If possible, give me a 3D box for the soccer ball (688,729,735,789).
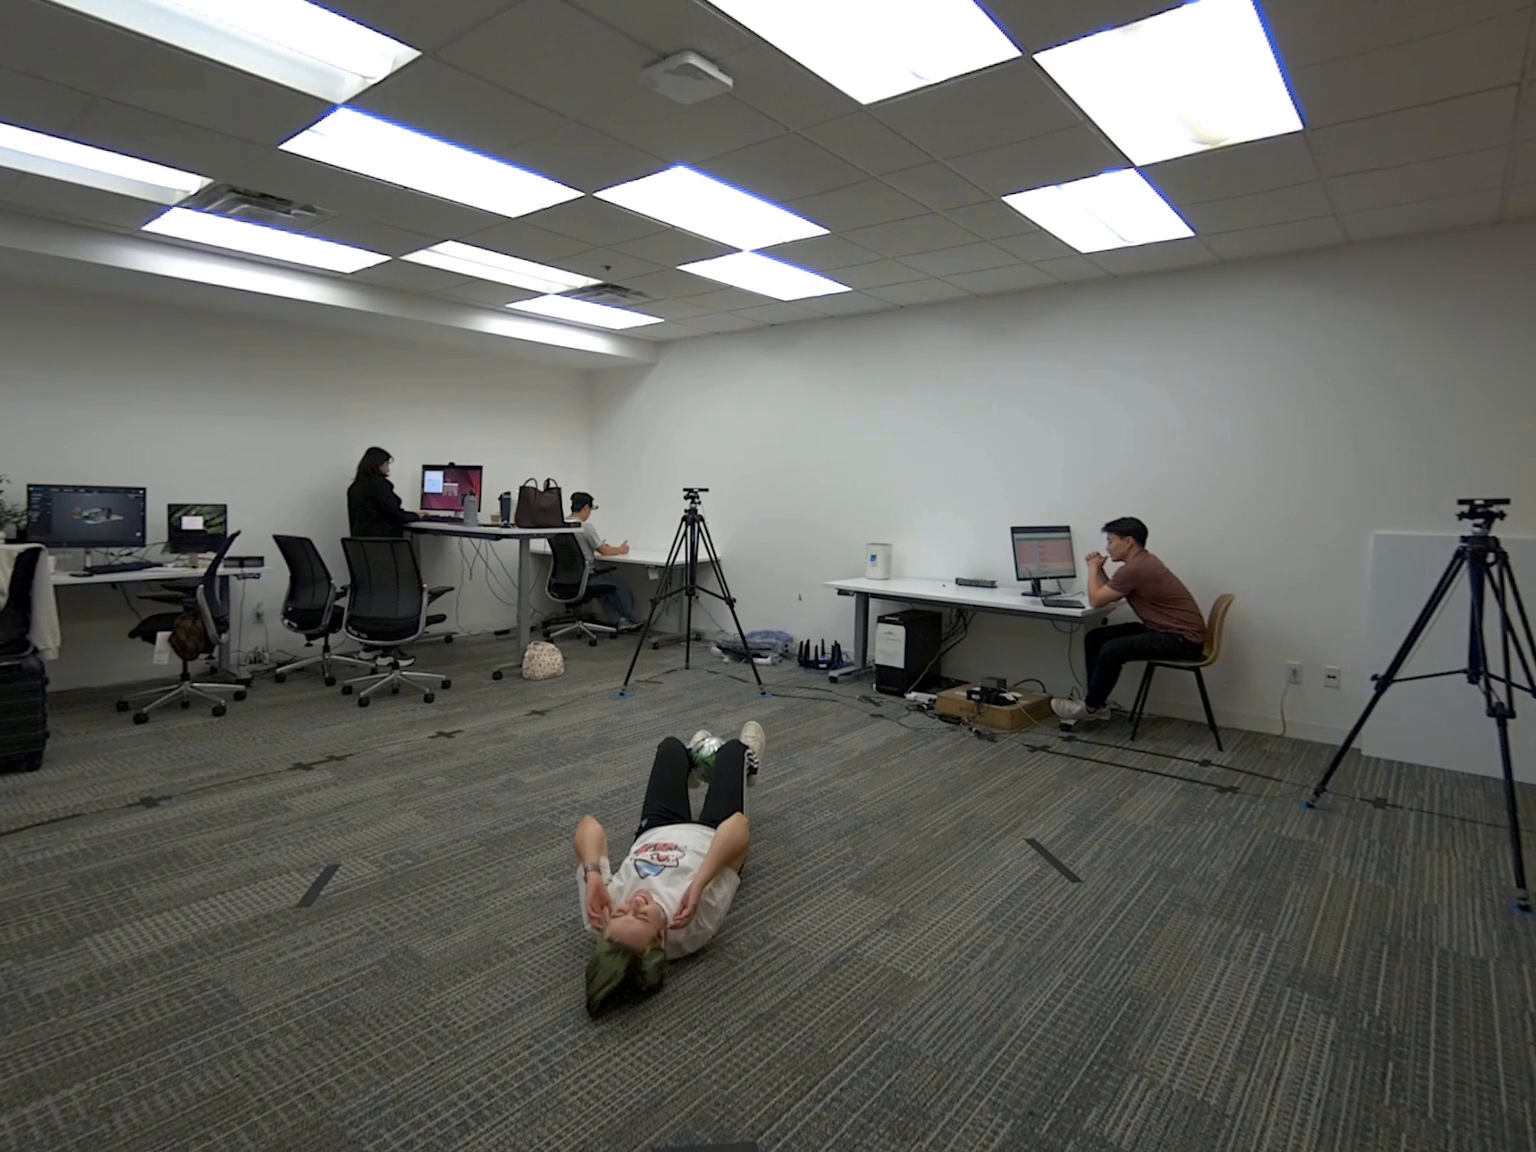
[{"bbox_3d":[-0.236,0.749,3.466,0.187,0.187,0.188,1,4,-2],"label":"soccer ball"}]
